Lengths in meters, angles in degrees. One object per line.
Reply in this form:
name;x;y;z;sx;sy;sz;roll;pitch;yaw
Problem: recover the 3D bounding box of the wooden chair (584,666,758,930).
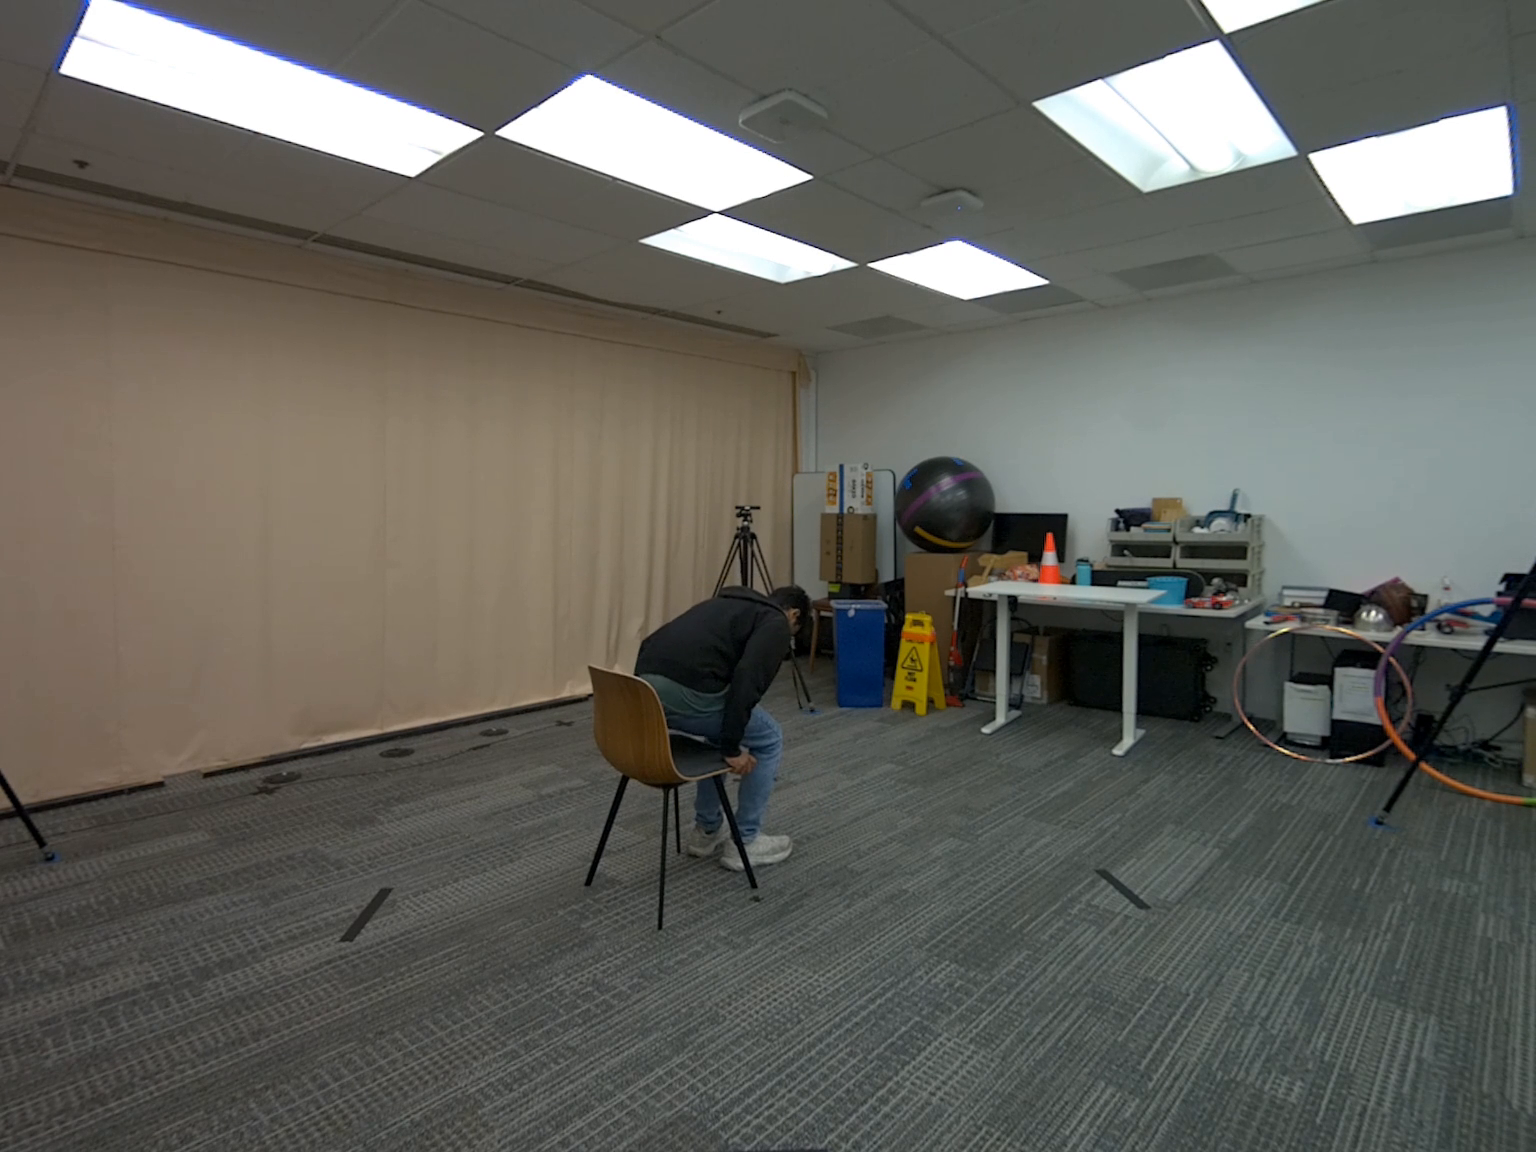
wooden chair;-0.343;0.710;3.053;0.508;0.874;0.494;-8;7;-43
